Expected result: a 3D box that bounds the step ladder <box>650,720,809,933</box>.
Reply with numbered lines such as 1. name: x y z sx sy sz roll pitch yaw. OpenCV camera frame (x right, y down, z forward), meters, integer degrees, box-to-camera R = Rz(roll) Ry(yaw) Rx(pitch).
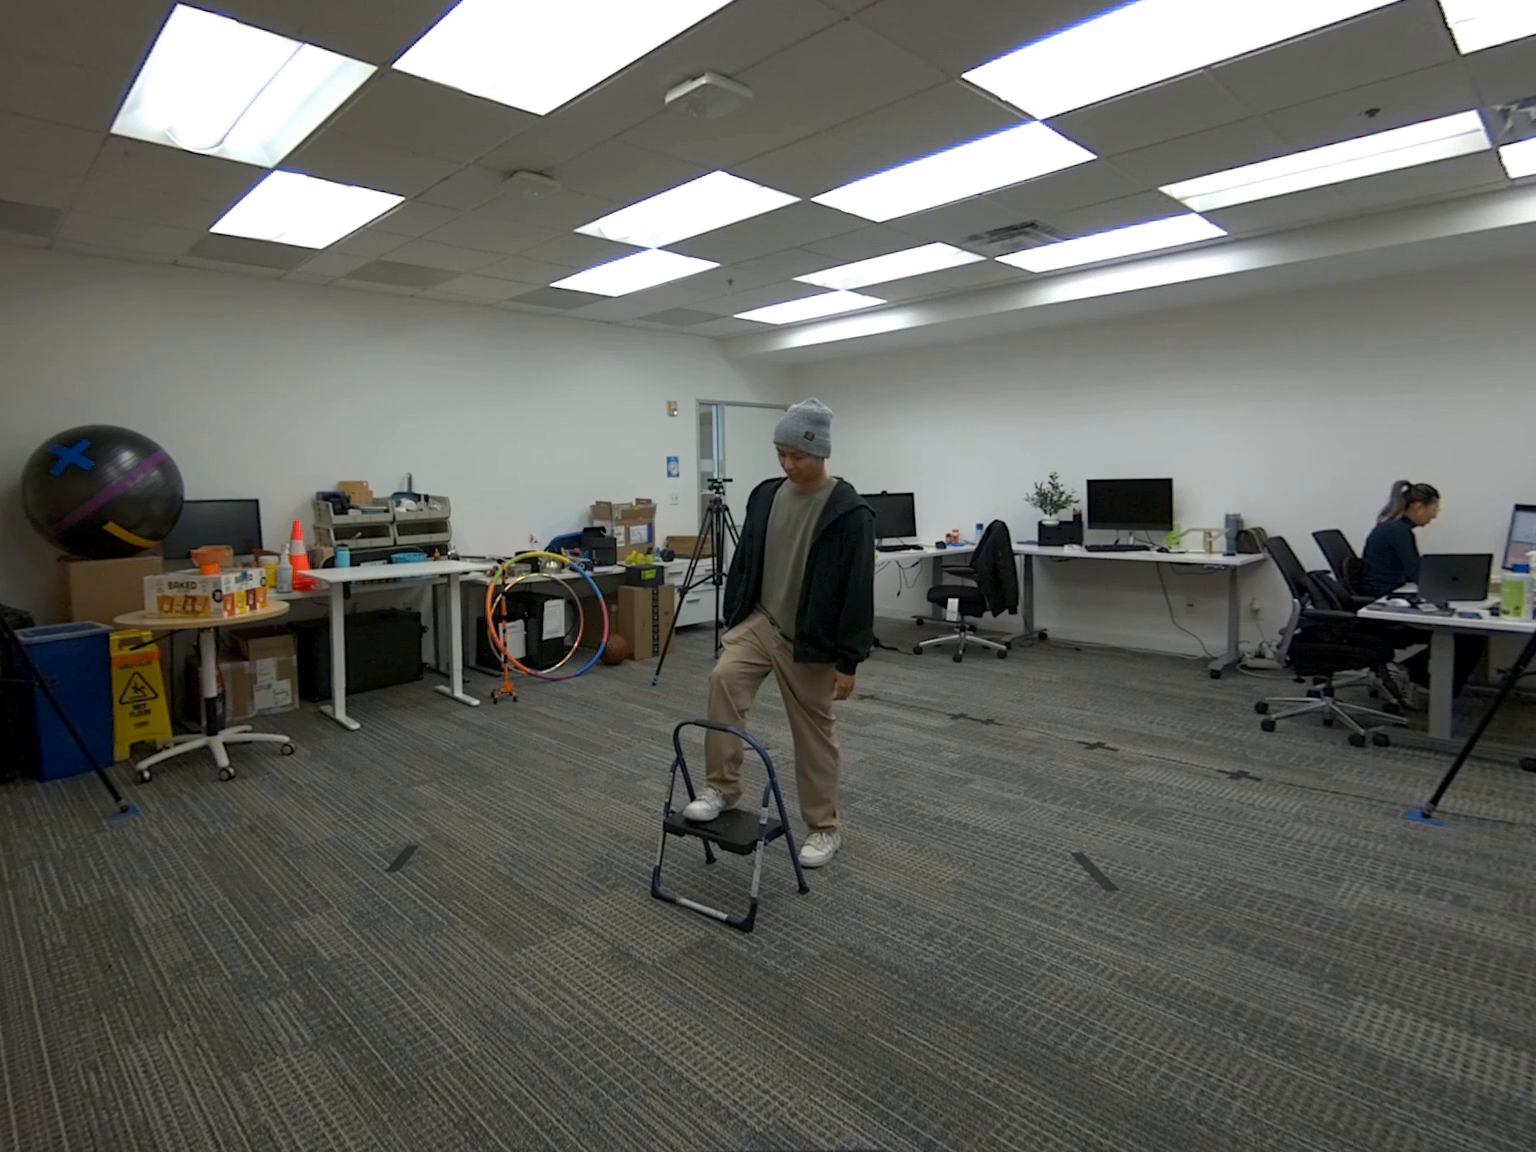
1. step ladder: -0.136 0.772 2.863 0.443 0.604 0.341 2 5 35
